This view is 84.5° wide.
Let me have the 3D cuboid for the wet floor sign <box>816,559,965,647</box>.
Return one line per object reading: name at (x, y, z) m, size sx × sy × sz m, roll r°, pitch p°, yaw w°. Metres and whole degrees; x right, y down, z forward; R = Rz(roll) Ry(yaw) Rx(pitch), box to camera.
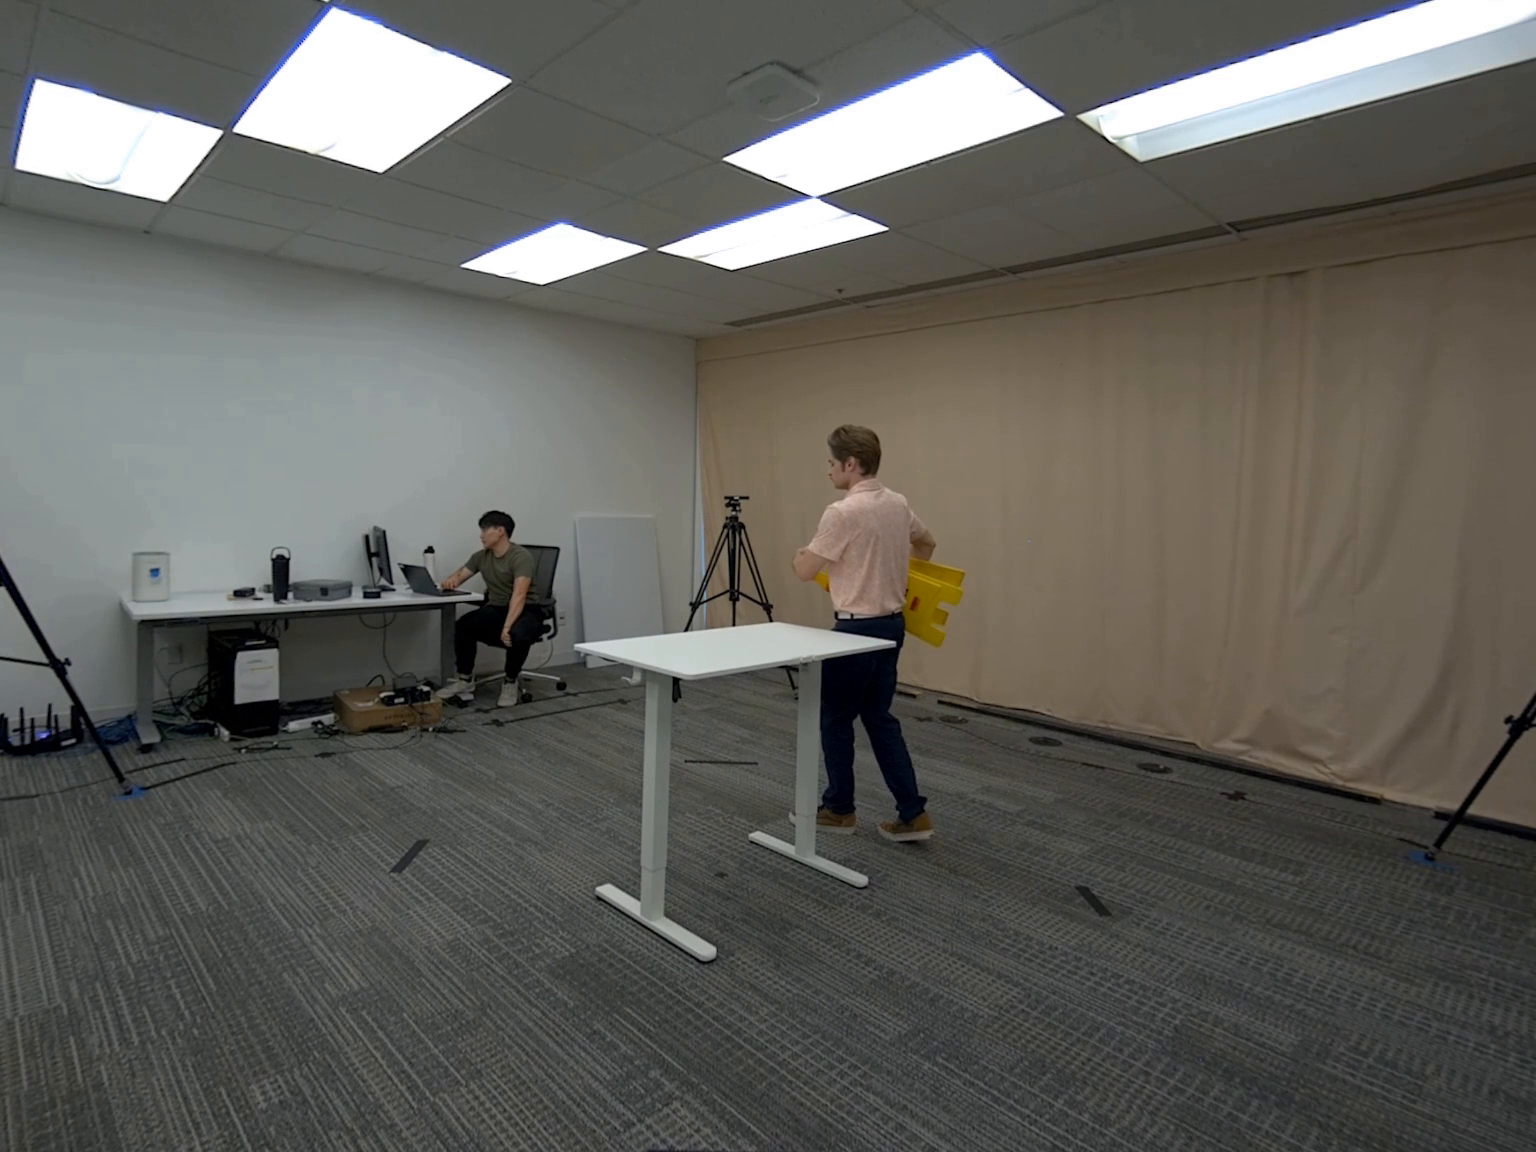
wet floor sign at (0.484, 0.033, 3.662) m, size 0.653 × 0.279 × 0.289 m, roll 22°, pitch 22°, yaw 10°
